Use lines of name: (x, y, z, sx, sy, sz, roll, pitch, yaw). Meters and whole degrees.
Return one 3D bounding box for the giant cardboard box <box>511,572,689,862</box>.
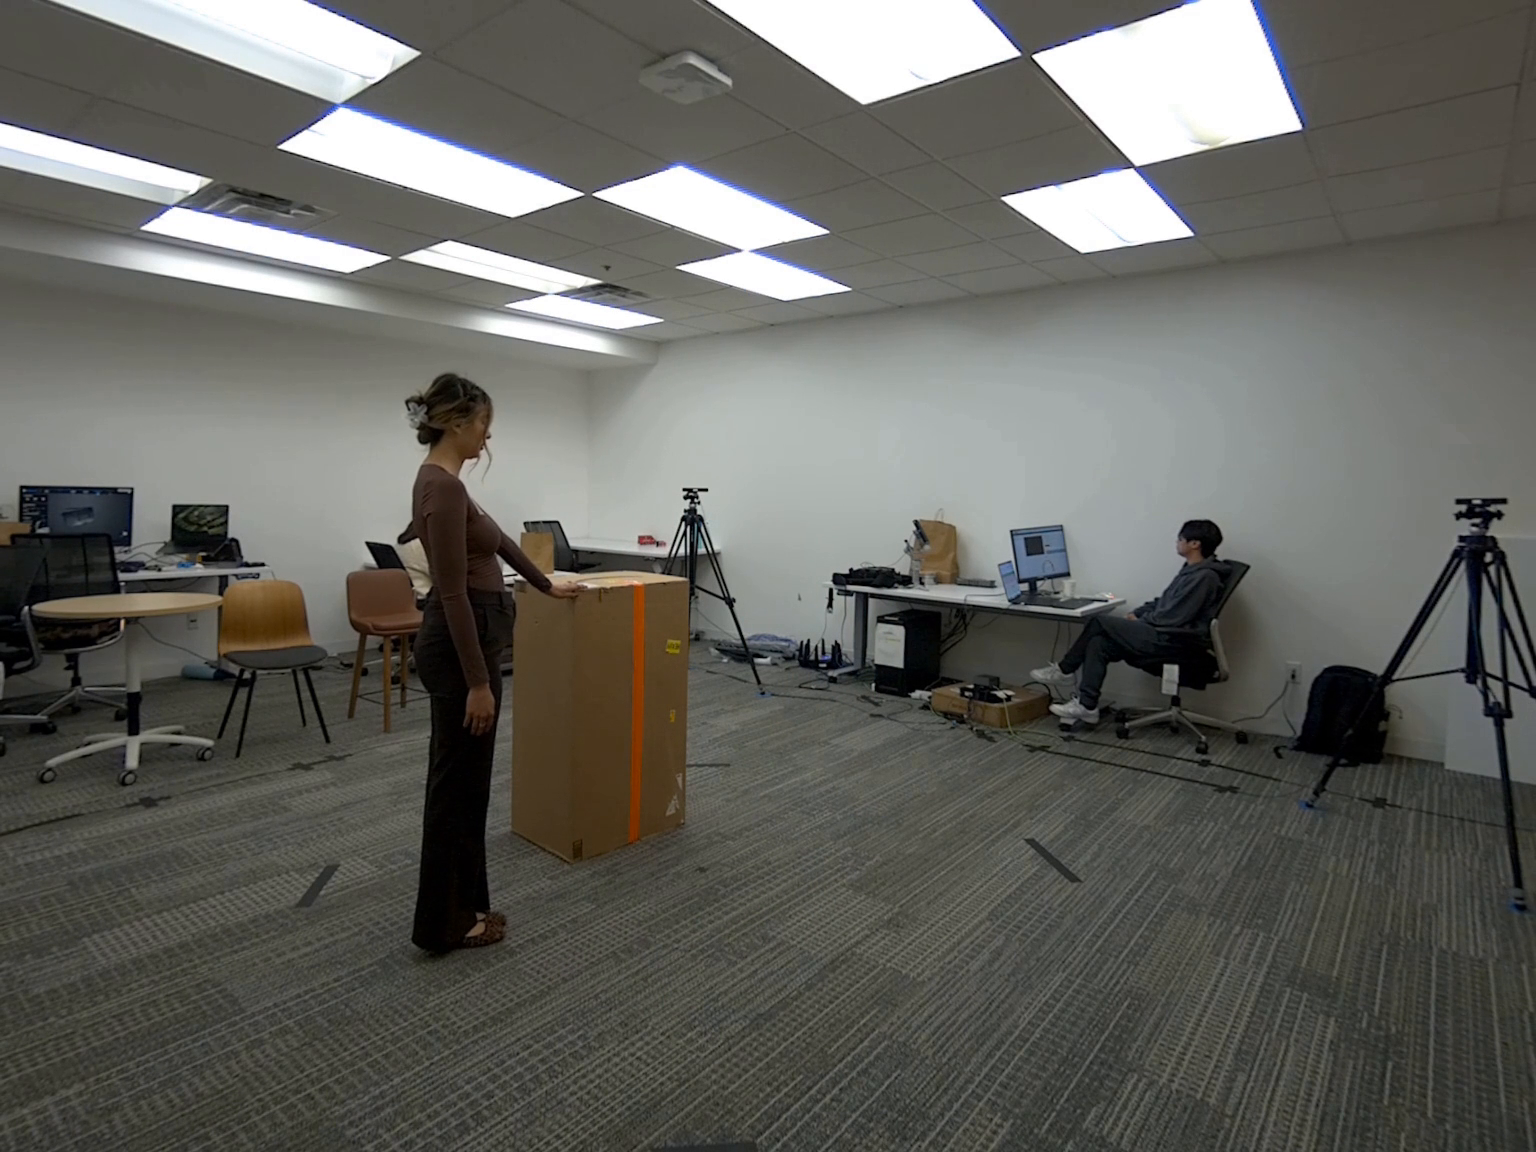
giant cardboard box: (-0.688, 0.519, 3.455, 0.462, 1.024, 0.566, 5, 5, 45)
